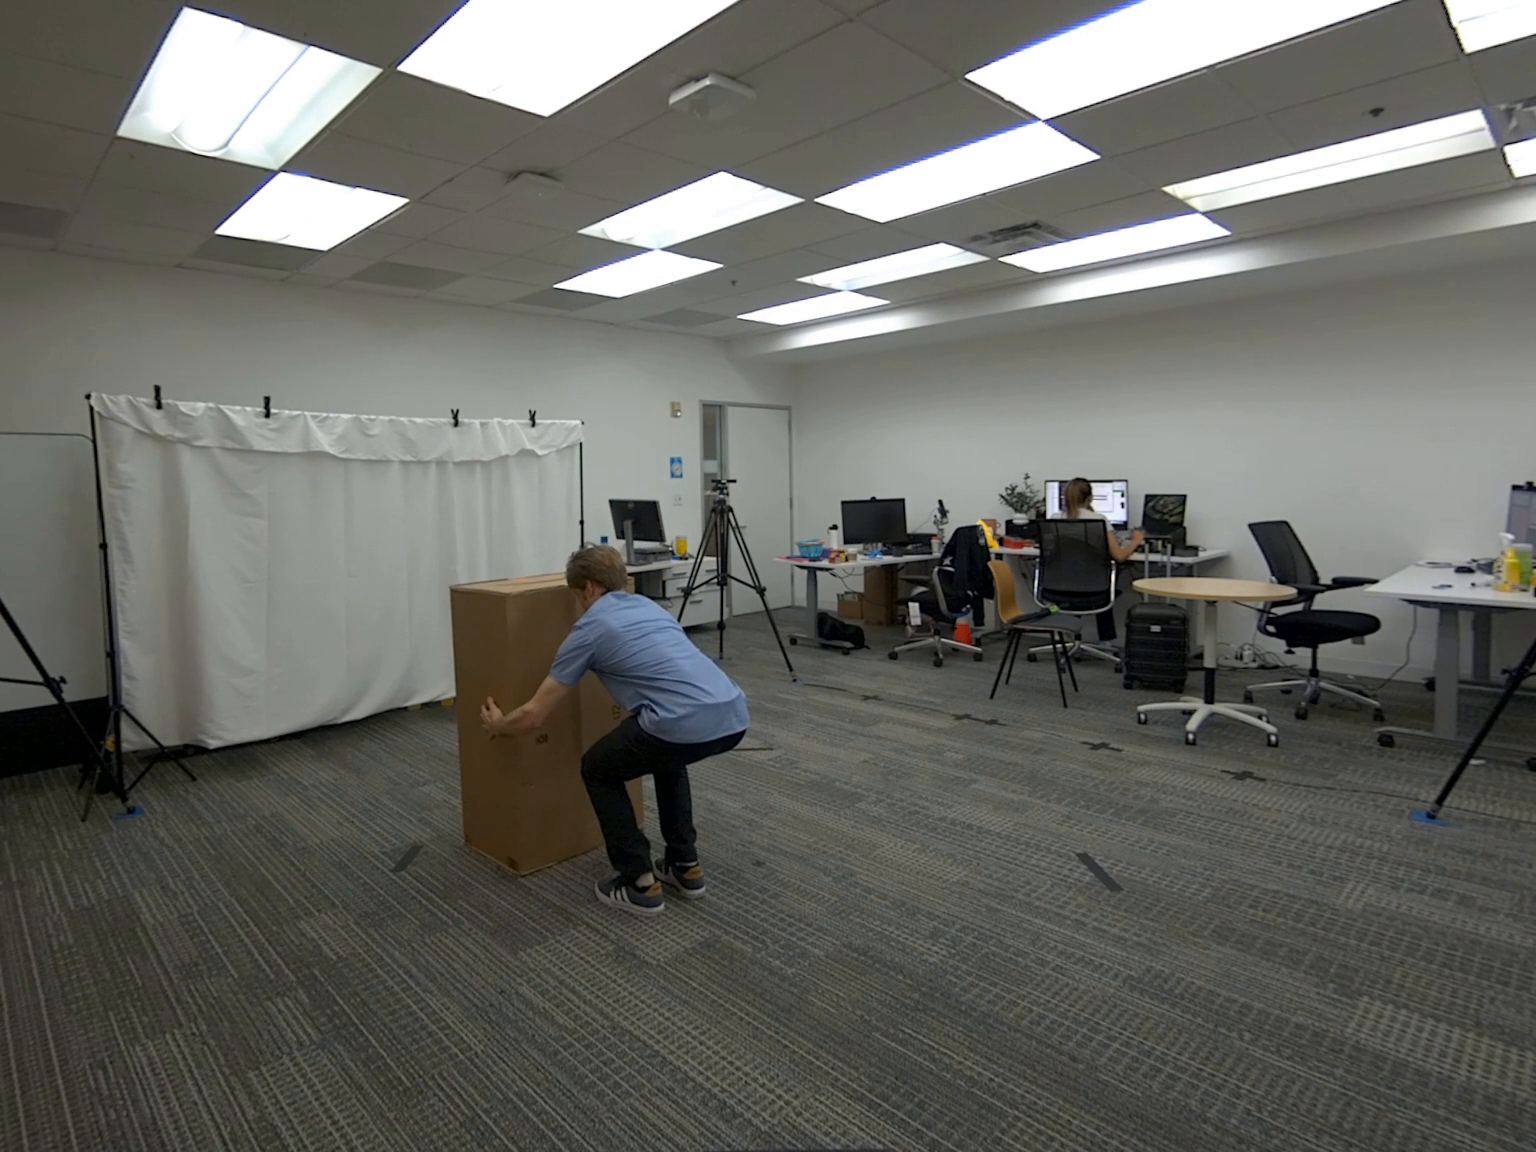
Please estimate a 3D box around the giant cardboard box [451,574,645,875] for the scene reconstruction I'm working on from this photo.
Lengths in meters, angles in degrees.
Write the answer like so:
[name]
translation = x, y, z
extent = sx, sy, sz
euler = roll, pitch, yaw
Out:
[giant cardboard box]
translation = -0.864, 0.528, 3.358
extent = 0.439, 1.022, 0.562
euler = 2, 5, 44
